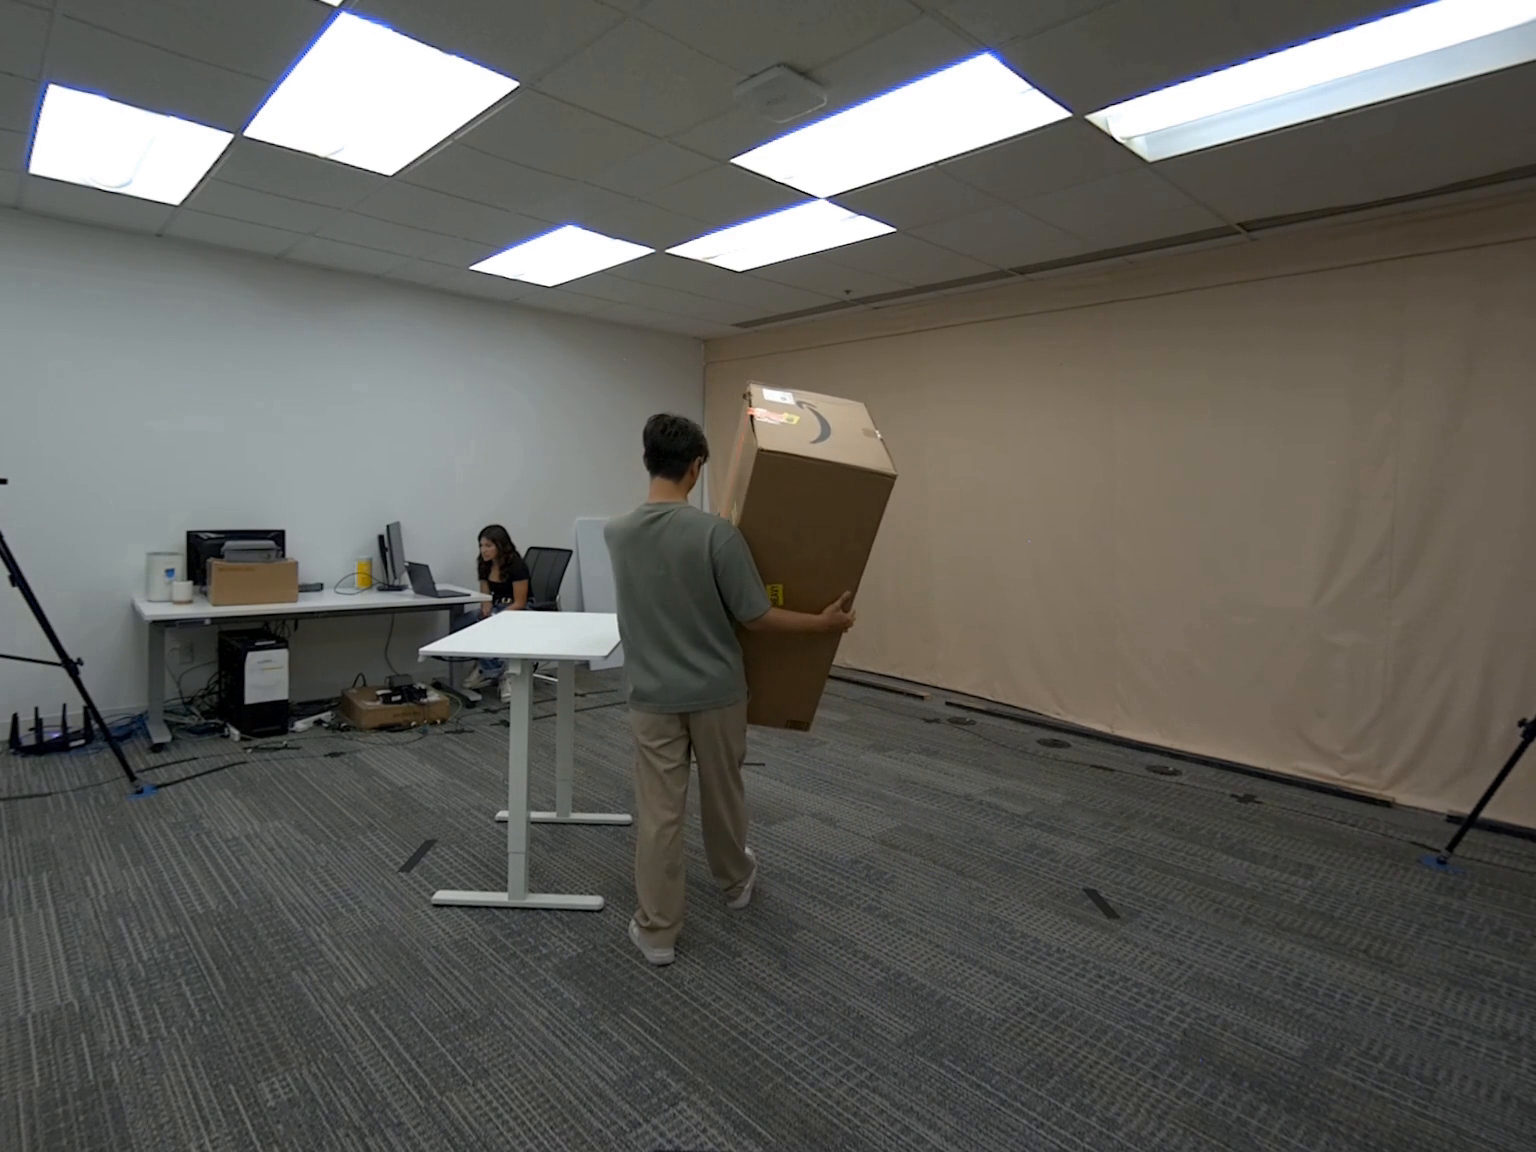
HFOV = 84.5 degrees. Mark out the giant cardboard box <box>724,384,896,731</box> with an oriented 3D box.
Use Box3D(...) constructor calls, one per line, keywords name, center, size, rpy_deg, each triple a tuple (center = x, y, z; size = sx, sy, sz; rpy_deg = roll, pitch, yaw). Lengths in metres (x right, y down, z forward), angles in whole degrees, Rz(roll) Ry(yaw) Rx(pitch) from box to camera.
Box3D(name="giant cardboard box", center=(0.033, -0.061, 2.906), size=(0.423, 1.012, 0.589), rpy_deg=(11, 30, -9))
